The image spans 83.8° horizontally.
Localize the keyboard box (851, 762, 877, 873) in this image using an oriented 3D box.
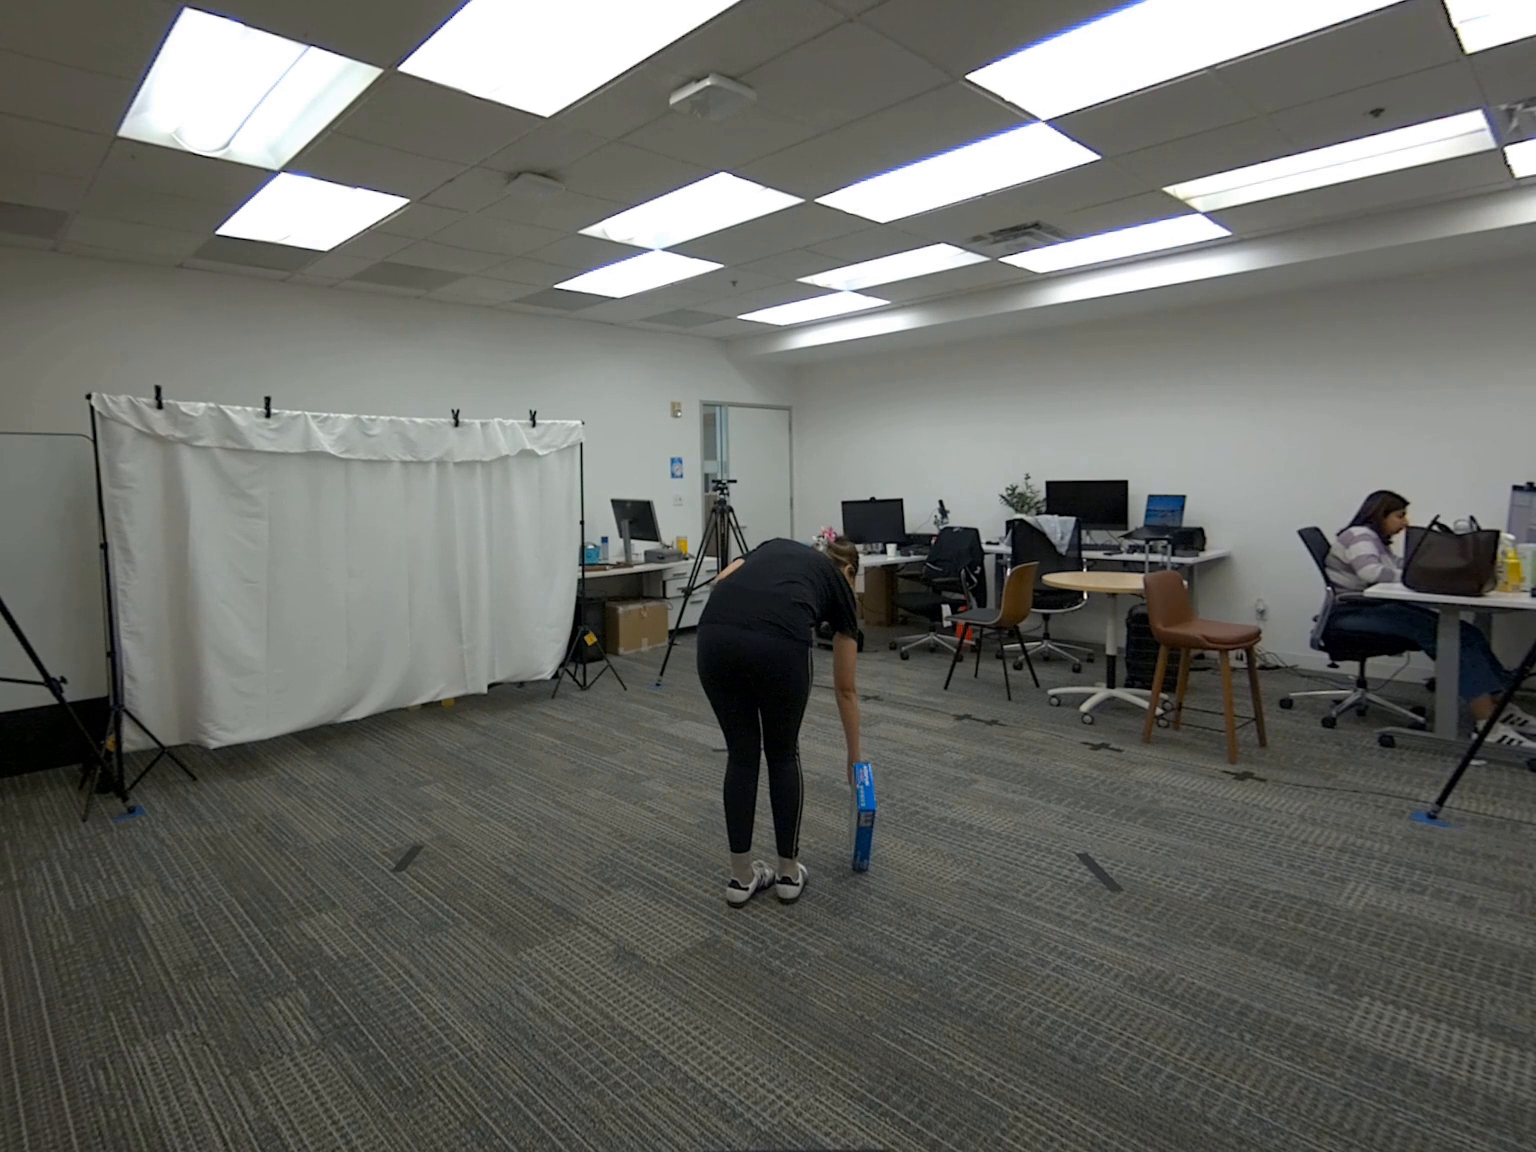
[{"bbox_3d":[0.326,0.845,2.953,0.059,0.424,0.181,-1,45,0],"label":"keyboard box"}]
